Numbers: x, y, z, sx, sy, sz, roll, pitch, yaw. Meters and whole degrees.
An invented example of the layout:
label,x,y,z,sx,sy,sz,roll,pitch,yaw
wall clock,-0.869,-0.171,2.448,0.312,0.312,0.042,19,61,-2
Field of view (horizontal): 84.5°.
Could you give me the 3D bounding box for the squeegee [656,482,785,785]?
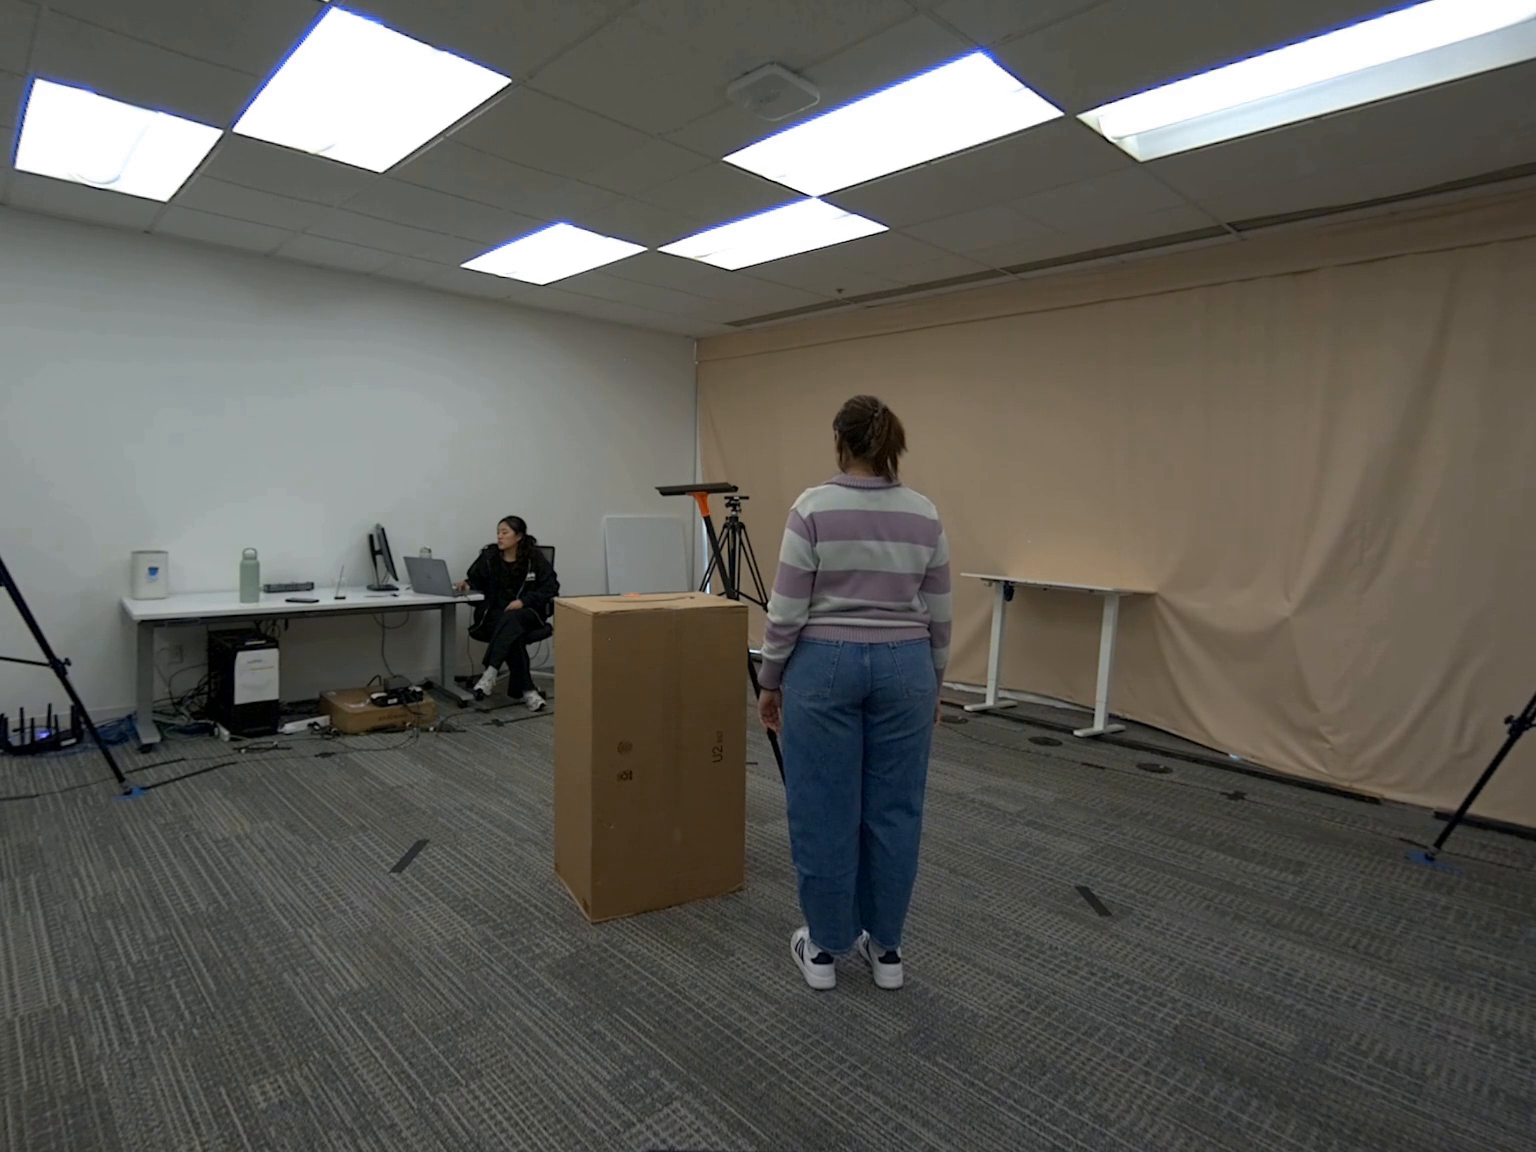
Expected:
label,x,y,z,sx,sy,sz,roll,pitch,yaw
squeegee,-0.034,0.370,3.158,0.052,1.515,0.448,-29,19,-36
